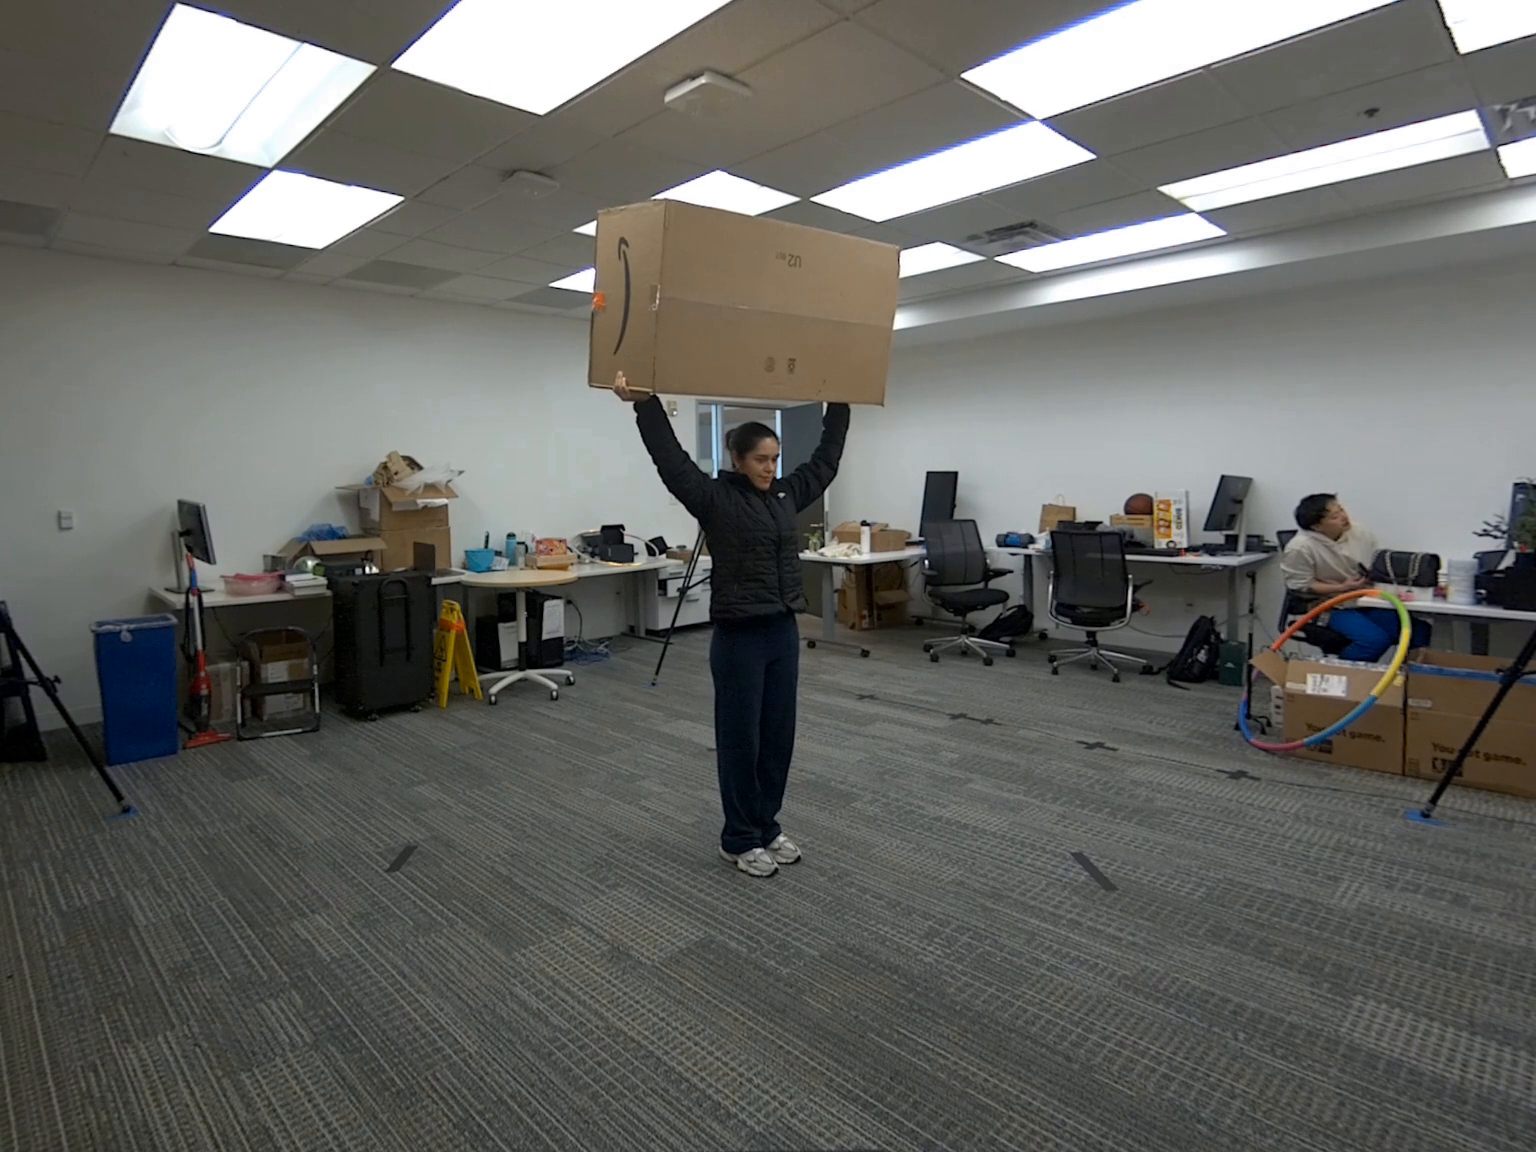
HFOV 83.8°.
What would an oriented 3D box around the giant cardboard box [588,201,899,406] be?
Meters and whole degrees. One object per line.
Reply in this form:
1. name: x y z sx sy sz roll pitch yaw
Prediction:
1. giant cardboard box: -0.065 -0.917 3.020 1.000 0.579 0.462 -5 14 -38
